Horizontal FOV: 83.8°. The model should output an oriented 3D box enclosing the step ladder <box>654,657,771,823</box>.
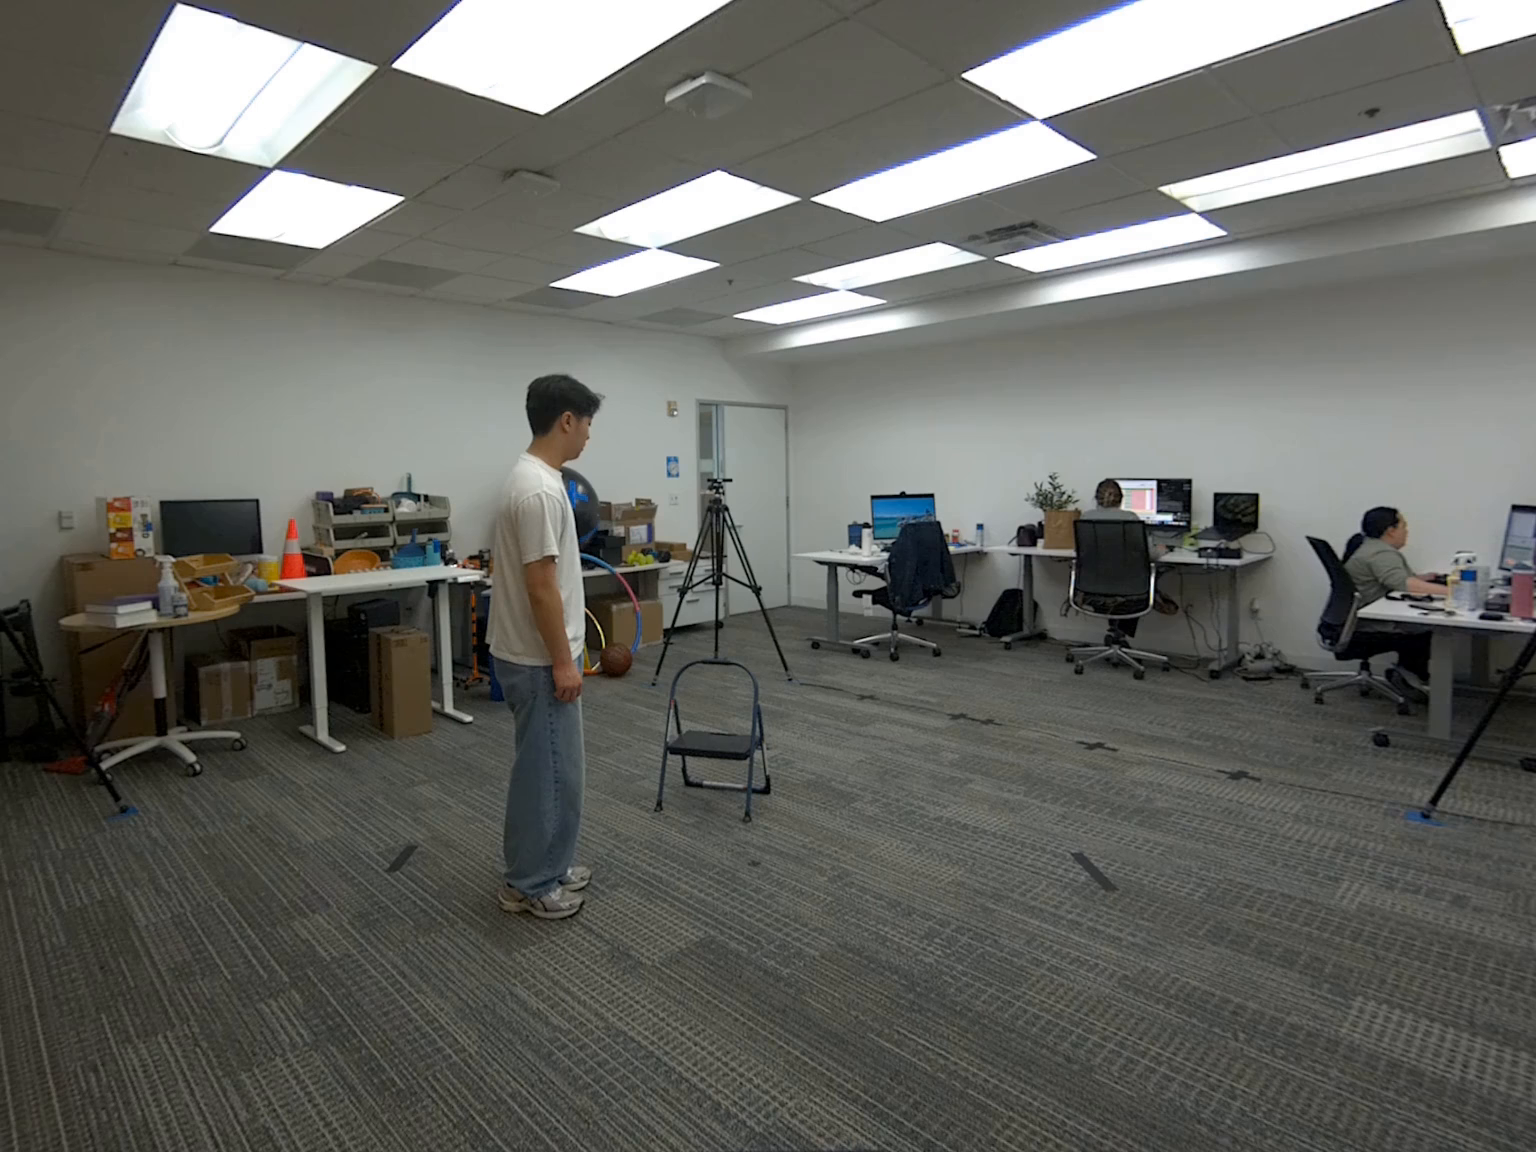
[{"bbox_3d":[-0.222,0.661,3.691,0.437,0.606,0.344,-13,1,20],"label":"step ladder"}]
